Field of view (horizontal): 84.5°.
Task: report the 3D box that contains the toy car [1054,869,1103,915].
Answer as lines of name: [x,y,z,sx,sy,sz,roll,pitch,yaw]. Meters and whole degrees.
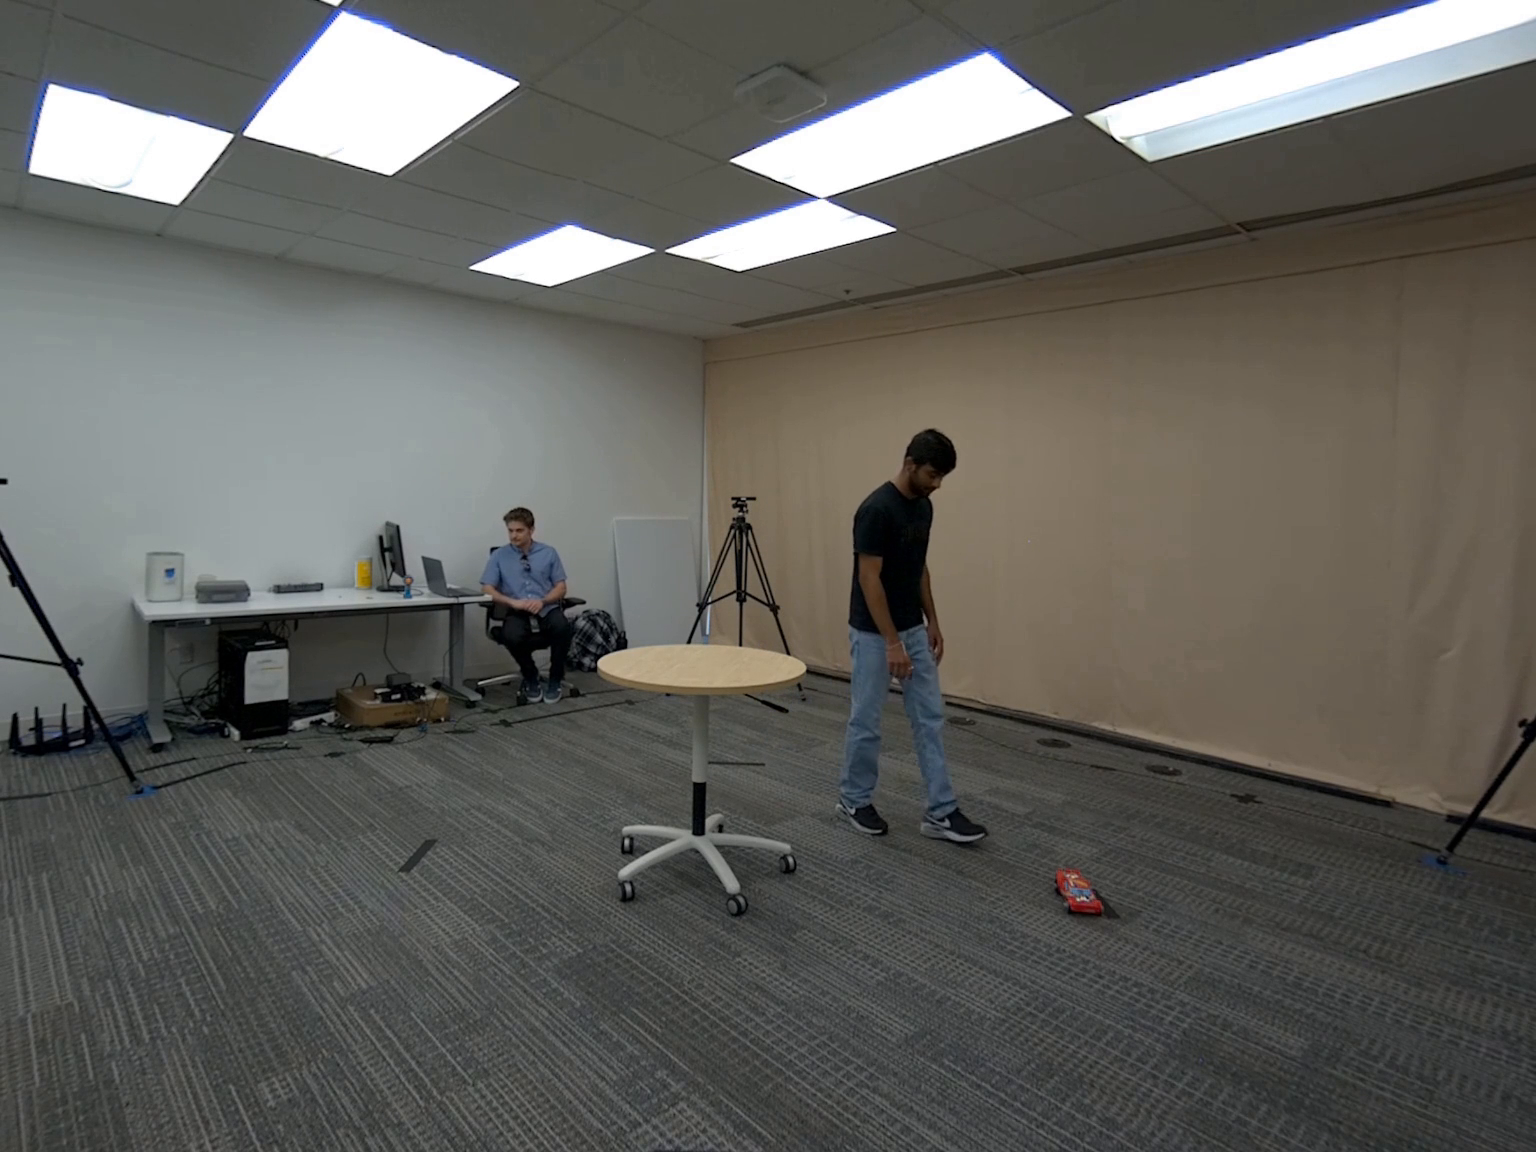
toy car: [1.086,1.120,2.982,0.131,0.082,0.255,1,15,7]
